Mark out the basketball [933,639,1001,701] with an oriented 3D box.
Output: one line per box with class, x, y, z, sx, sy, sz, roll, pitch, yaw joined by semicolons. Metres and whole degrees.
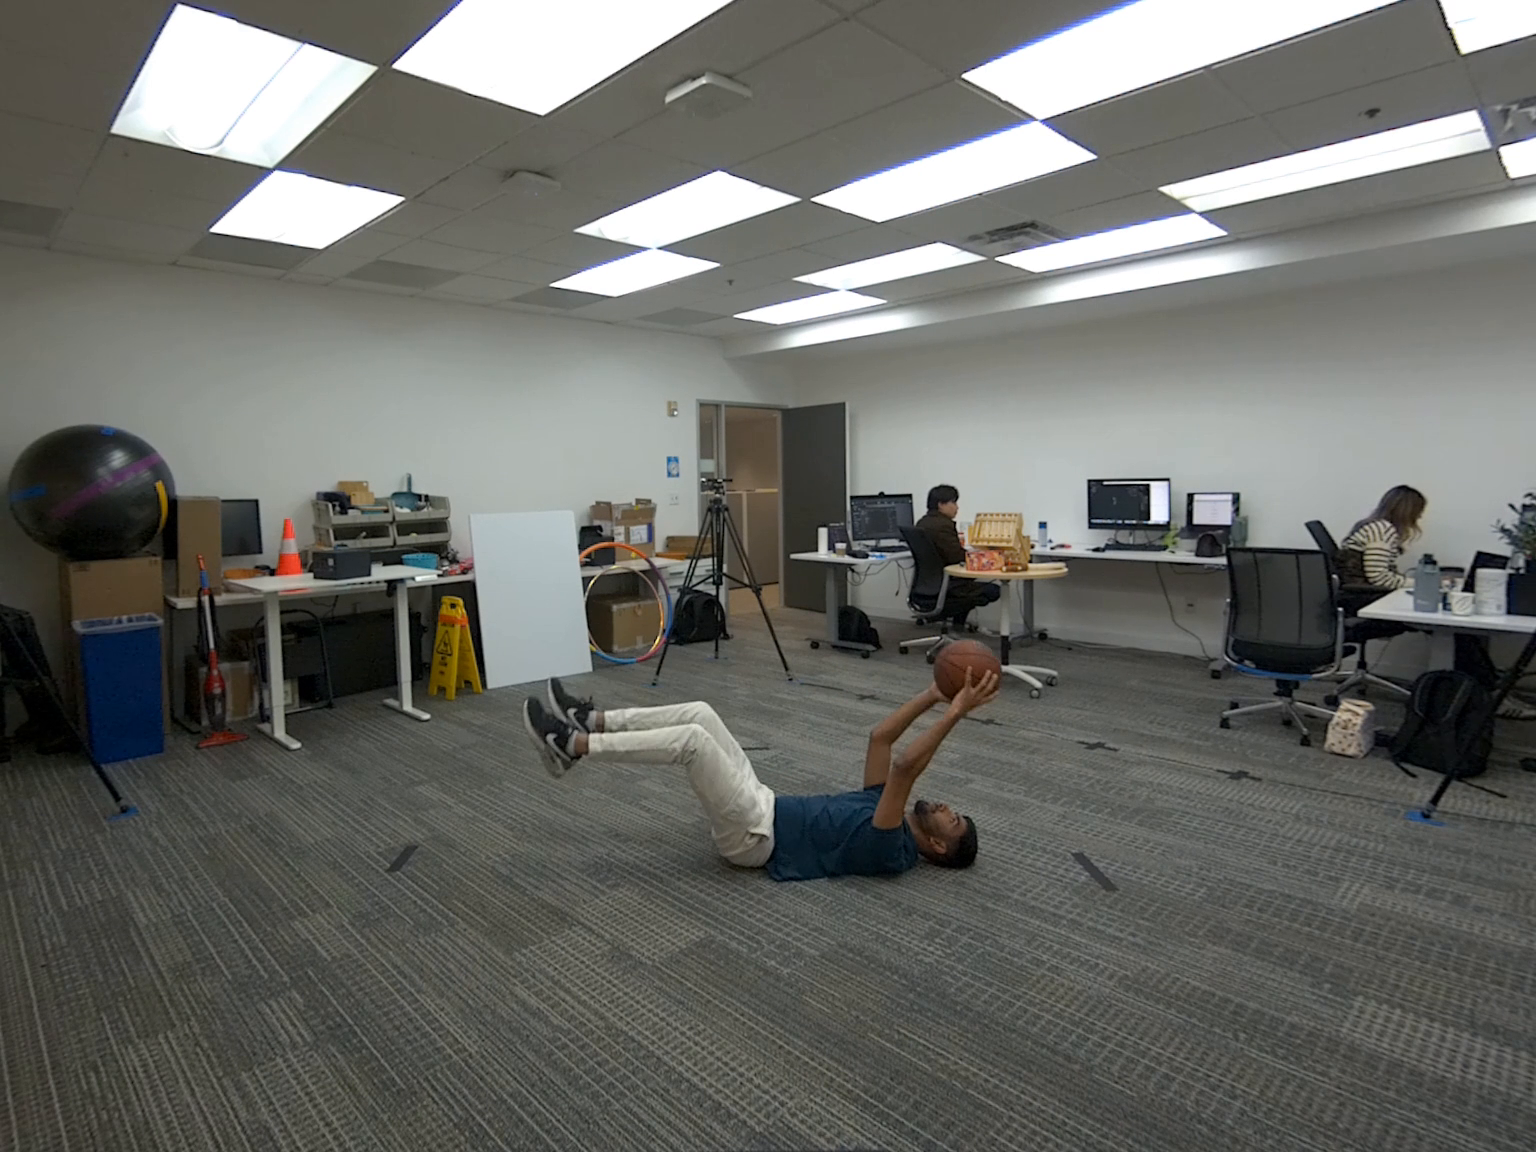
basketball;0.721;0.358;3.091;0.236;0.235;0.237;-1;5;-2
